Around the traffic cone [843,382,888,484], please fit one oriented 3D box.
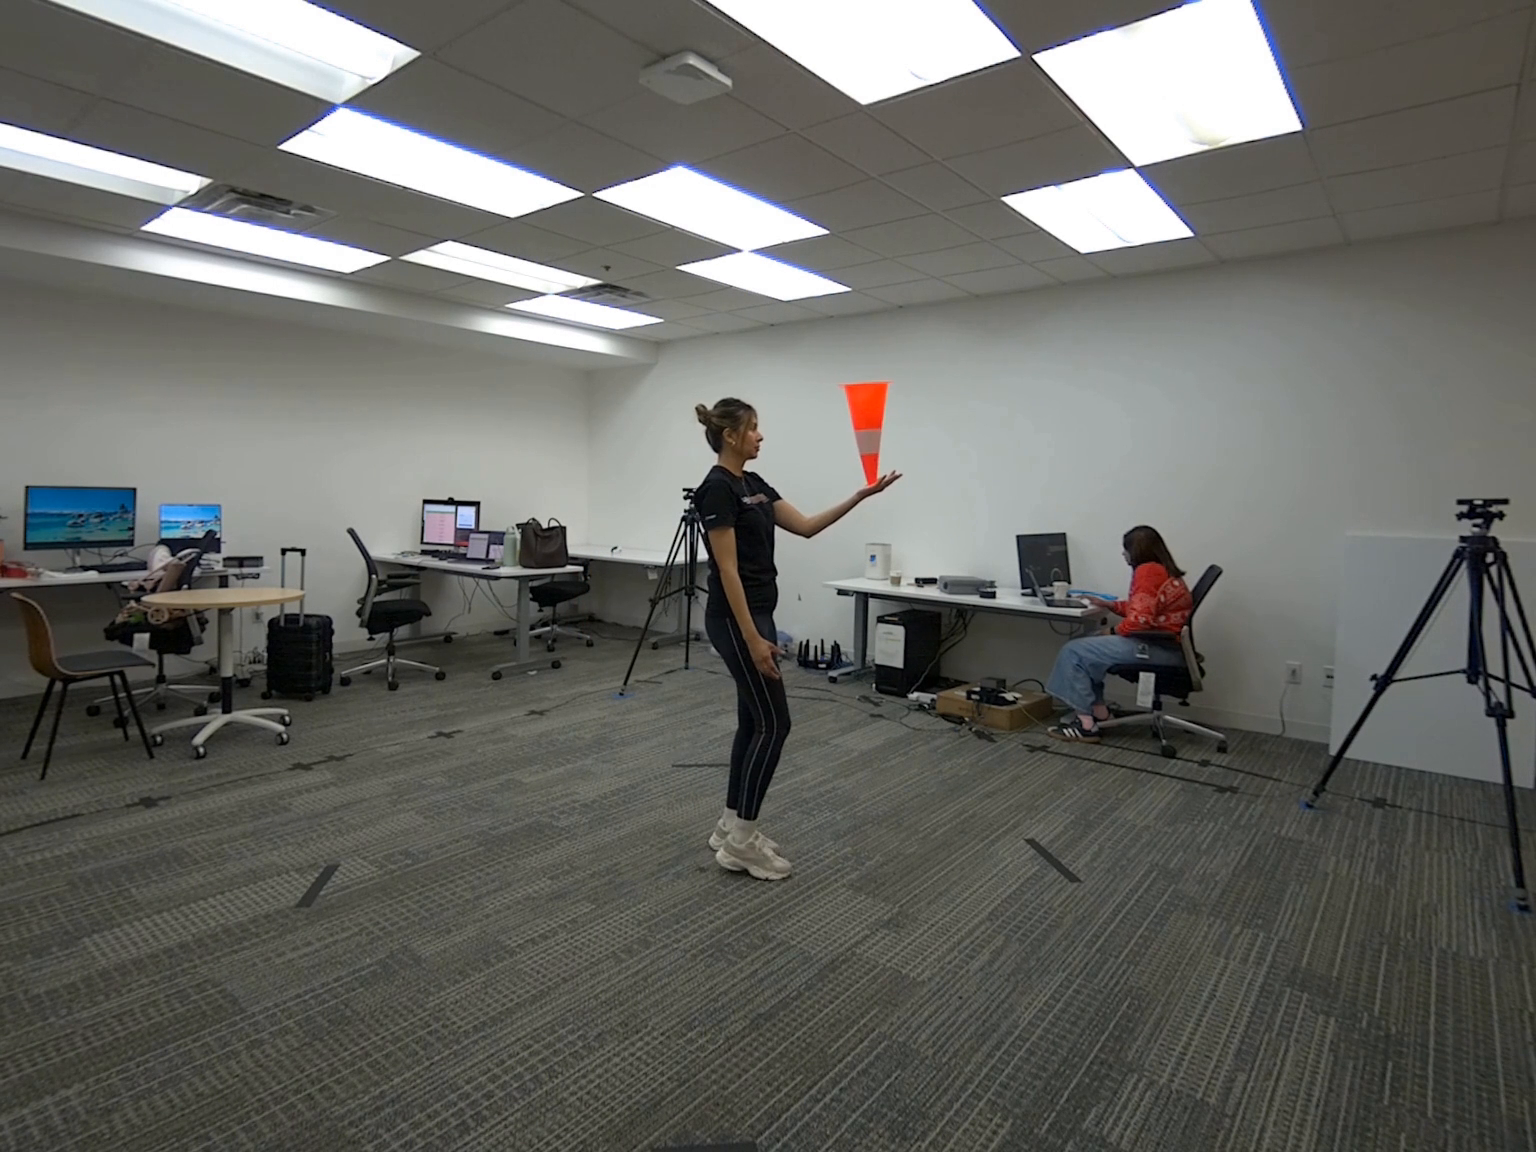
[{"bbox_3d":[0.368,-0.523,3.159,0.208,0.382,0.202,-4,5,12],"label":"traffic cone"}]
